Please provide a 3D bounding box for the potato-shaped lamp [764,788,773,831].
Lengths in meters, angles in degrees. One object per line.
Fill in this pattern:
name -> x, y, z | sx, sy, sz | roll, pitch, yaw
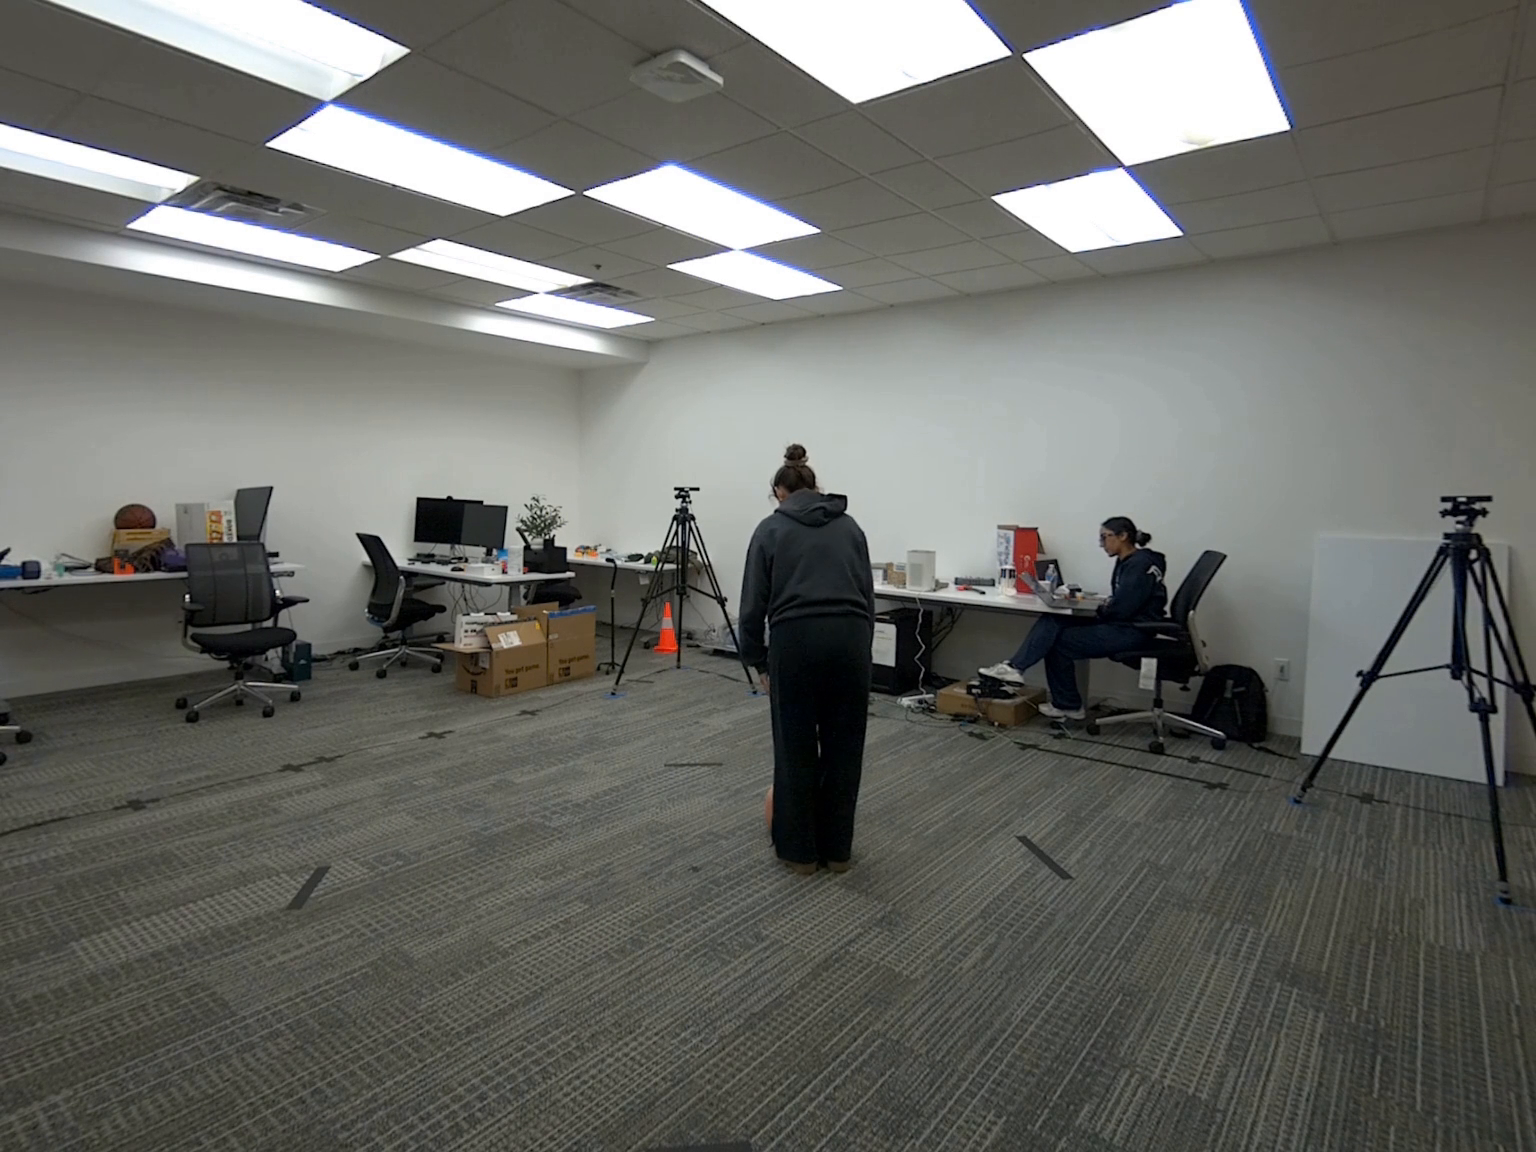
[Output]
potato-shaped lamp -> 0.075, 0.931, 3.472 | 0.166, 0.197, 0.170 | -4, 7, -45
